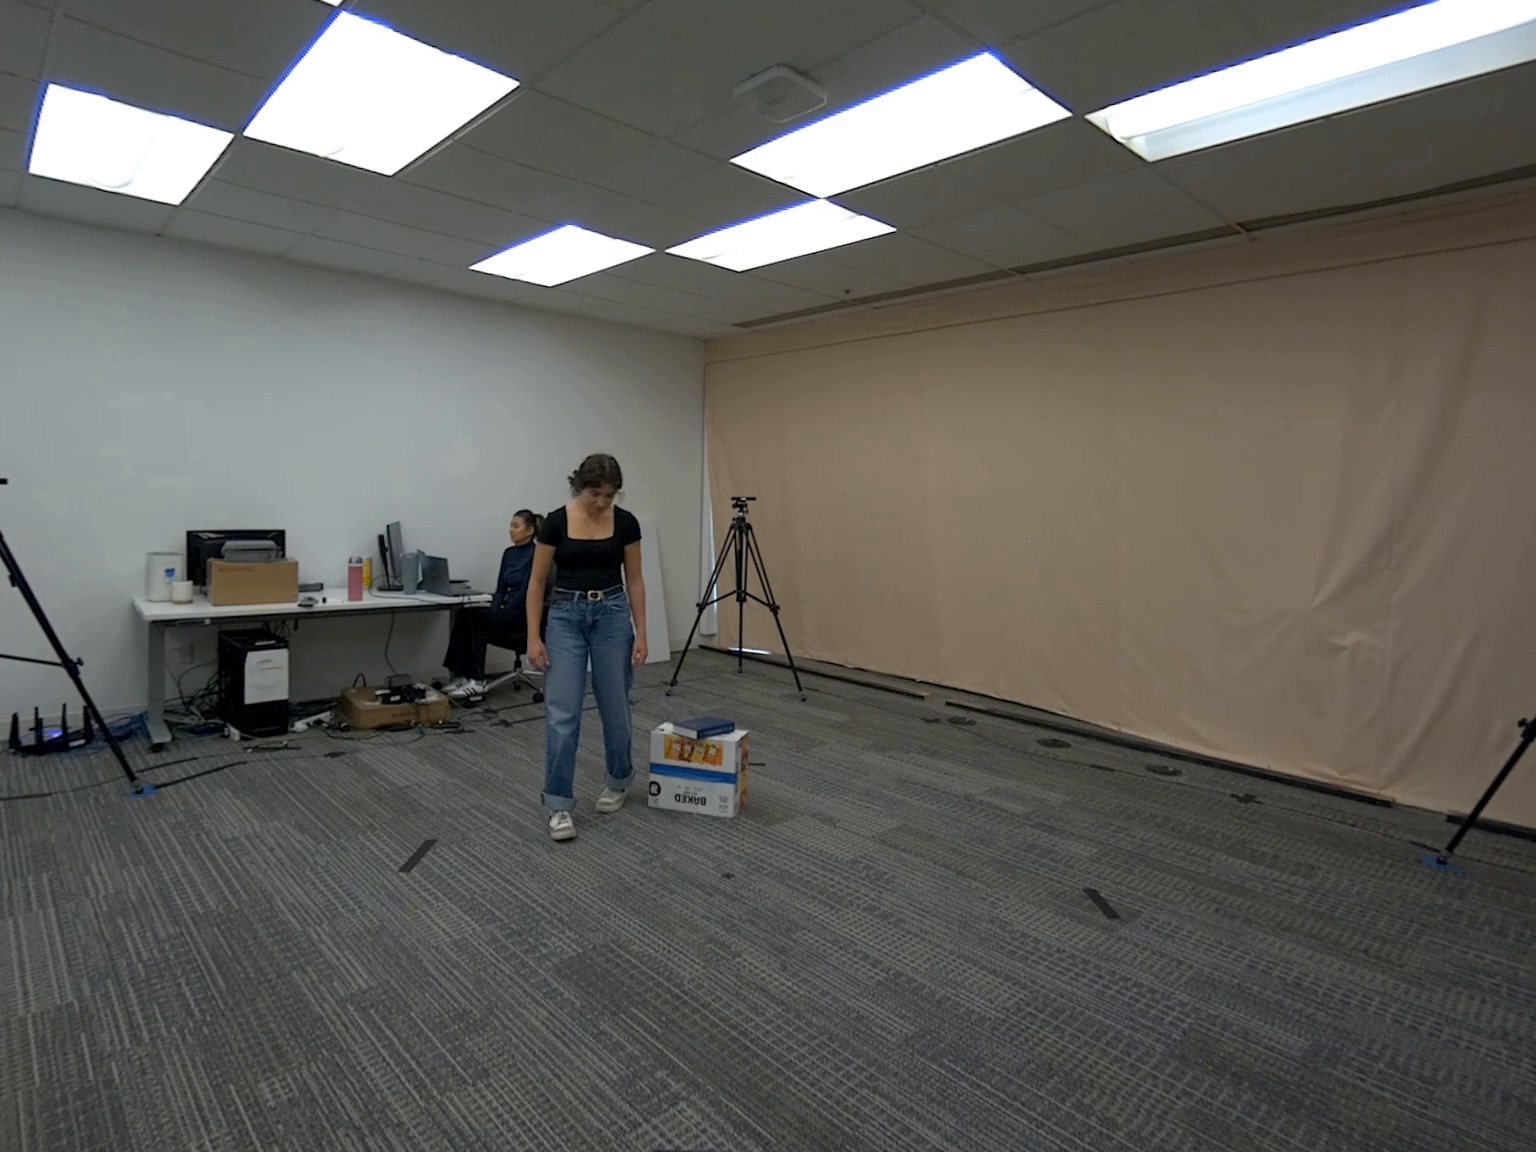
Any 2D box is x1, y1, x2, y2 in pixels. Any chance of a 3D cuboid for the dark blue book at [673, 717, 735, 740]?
[{"bbox_3d":[-0.302,0.681,3.800,0.167,0.045,0.239,4,4,41],"label":"dark blue book"}]
